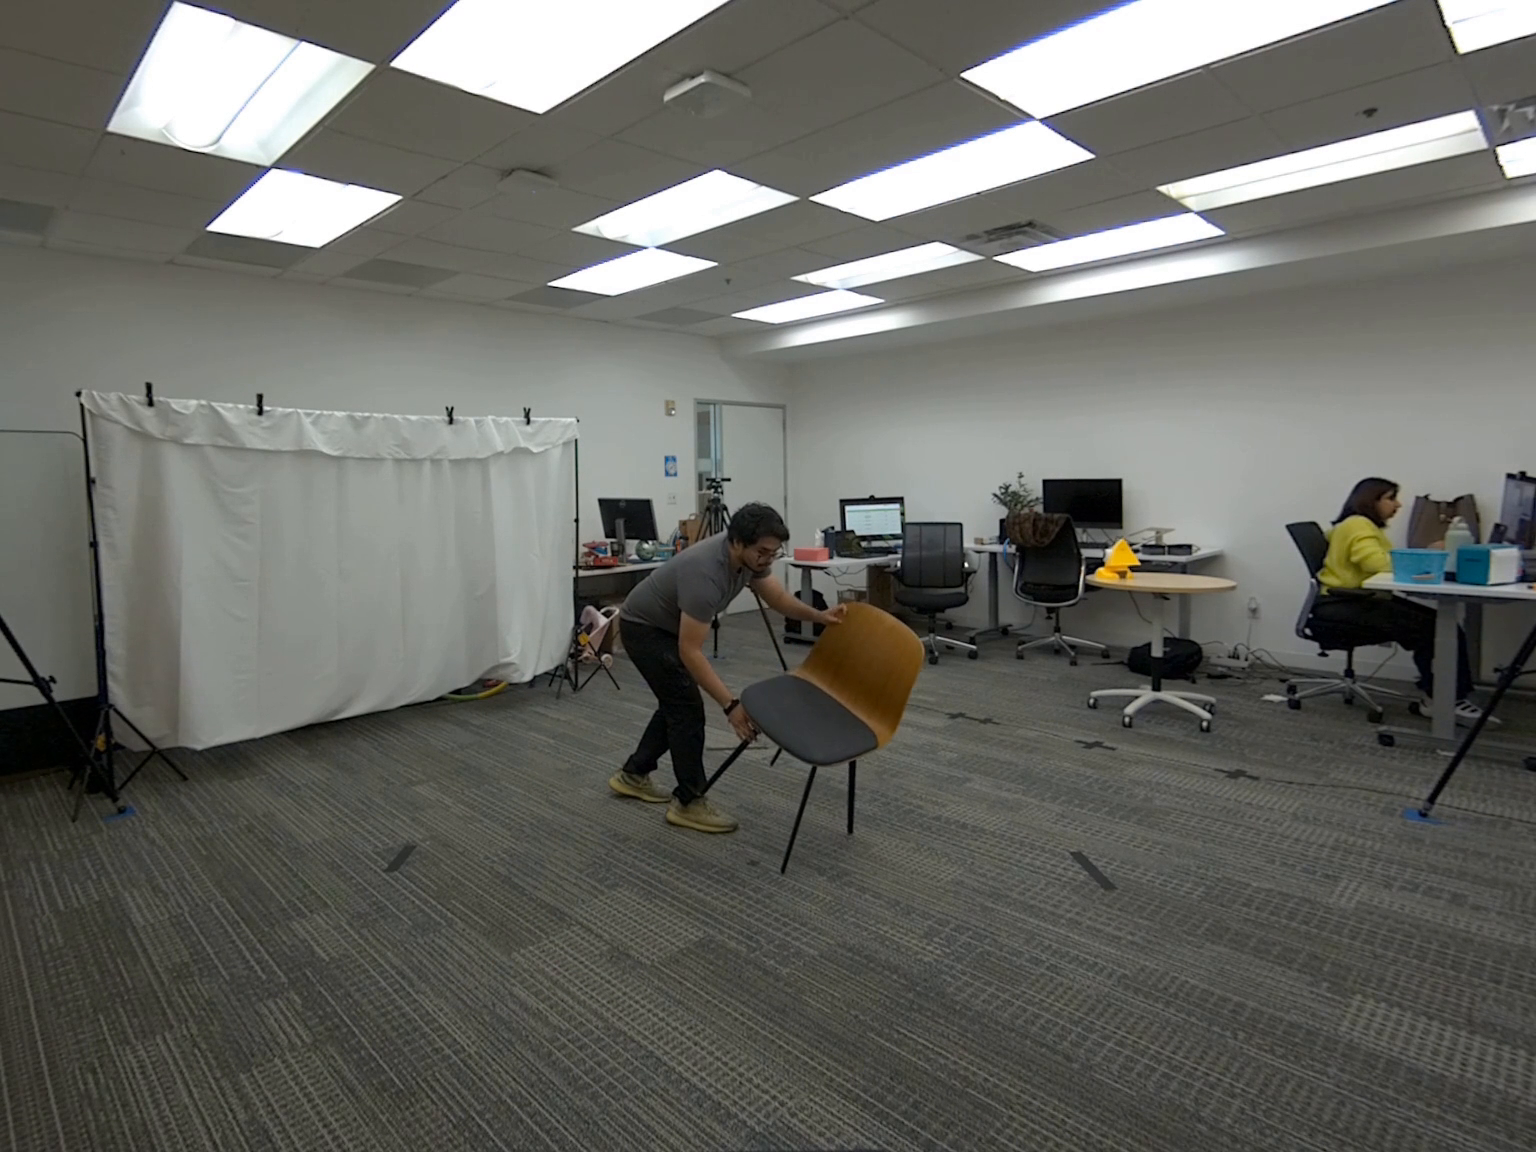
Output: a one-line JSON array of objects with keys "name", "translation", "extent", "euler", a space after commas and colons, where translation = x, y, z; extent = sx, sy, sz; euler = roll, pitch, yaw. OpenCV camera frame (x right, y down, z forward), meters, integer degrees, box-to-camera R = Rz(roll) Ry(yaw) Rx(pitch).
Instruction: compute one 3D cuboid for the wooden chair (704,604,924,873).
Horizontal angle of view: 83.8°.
[{"name": "wooden chair", "translation": [0.167, 0.553, 3.154], "extent": [0.496, 0.870, 0.508], "euler": [34, 20, 33]}]
